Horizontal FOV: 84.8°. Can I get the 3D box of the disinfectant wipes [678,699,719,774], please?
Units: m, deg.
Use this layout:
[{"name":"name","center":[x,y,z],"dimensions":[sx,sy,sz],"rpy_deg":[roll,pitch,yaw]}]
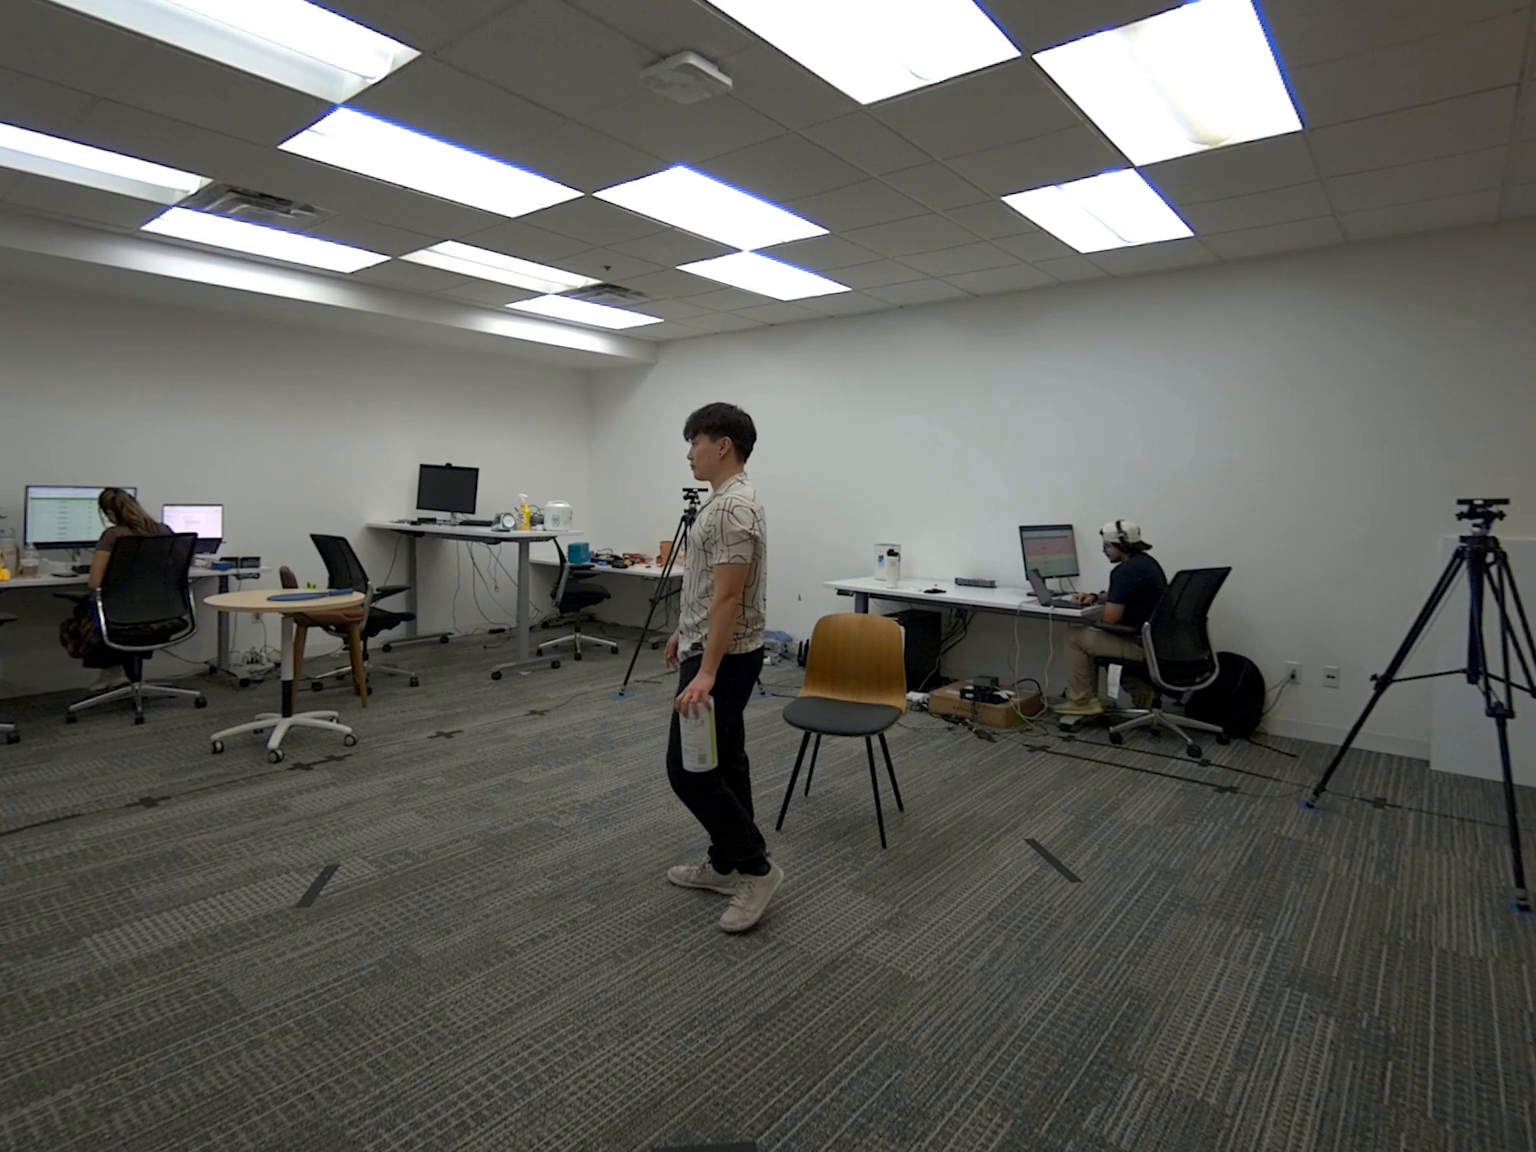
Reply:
[{"name":"disinfectant wipes","center":[-0.222,0.477,2.612],"dimensions":[0.118,0.216,0.118],"rpy_deg":[0,6,-2]}]
